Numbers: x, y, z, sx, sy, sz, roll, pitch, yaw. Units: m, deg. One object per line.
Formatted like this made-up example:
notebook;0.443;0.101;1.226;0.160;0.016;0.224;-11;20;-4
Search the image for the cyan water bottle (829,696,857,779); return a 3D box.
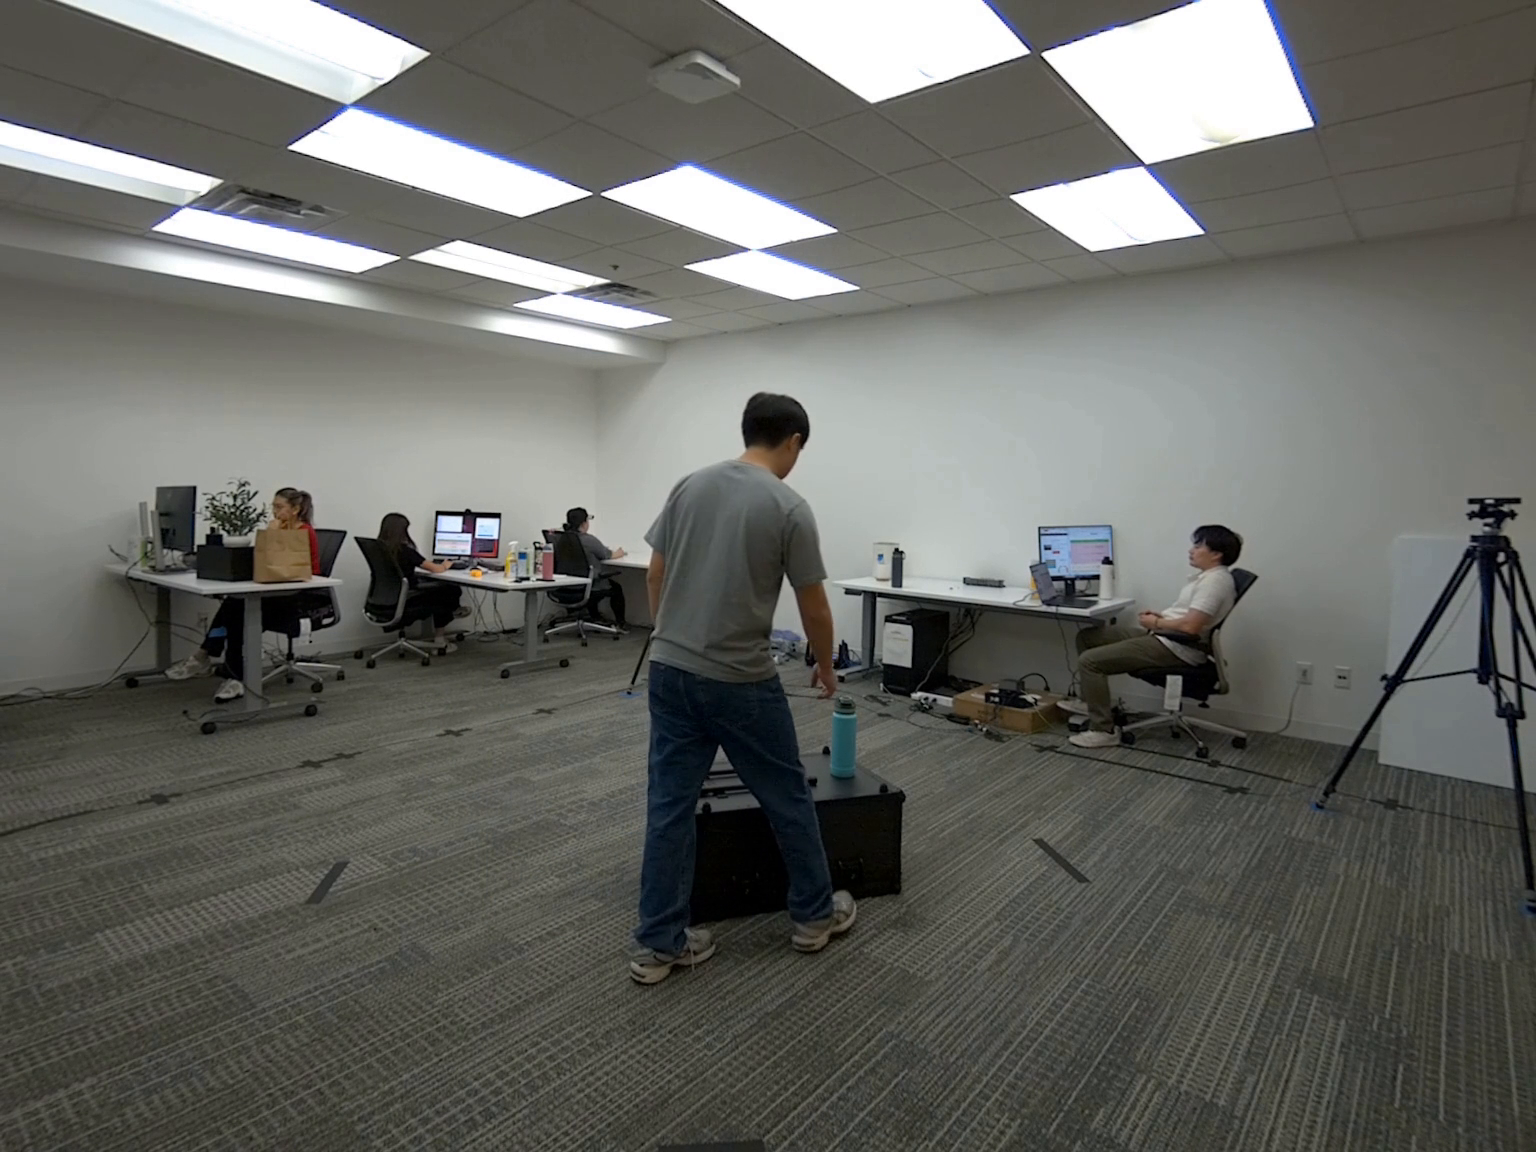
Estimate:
cyan water bottle;0.267;0.577;3.101;0.092;0.283;0.092;0;1;-2
